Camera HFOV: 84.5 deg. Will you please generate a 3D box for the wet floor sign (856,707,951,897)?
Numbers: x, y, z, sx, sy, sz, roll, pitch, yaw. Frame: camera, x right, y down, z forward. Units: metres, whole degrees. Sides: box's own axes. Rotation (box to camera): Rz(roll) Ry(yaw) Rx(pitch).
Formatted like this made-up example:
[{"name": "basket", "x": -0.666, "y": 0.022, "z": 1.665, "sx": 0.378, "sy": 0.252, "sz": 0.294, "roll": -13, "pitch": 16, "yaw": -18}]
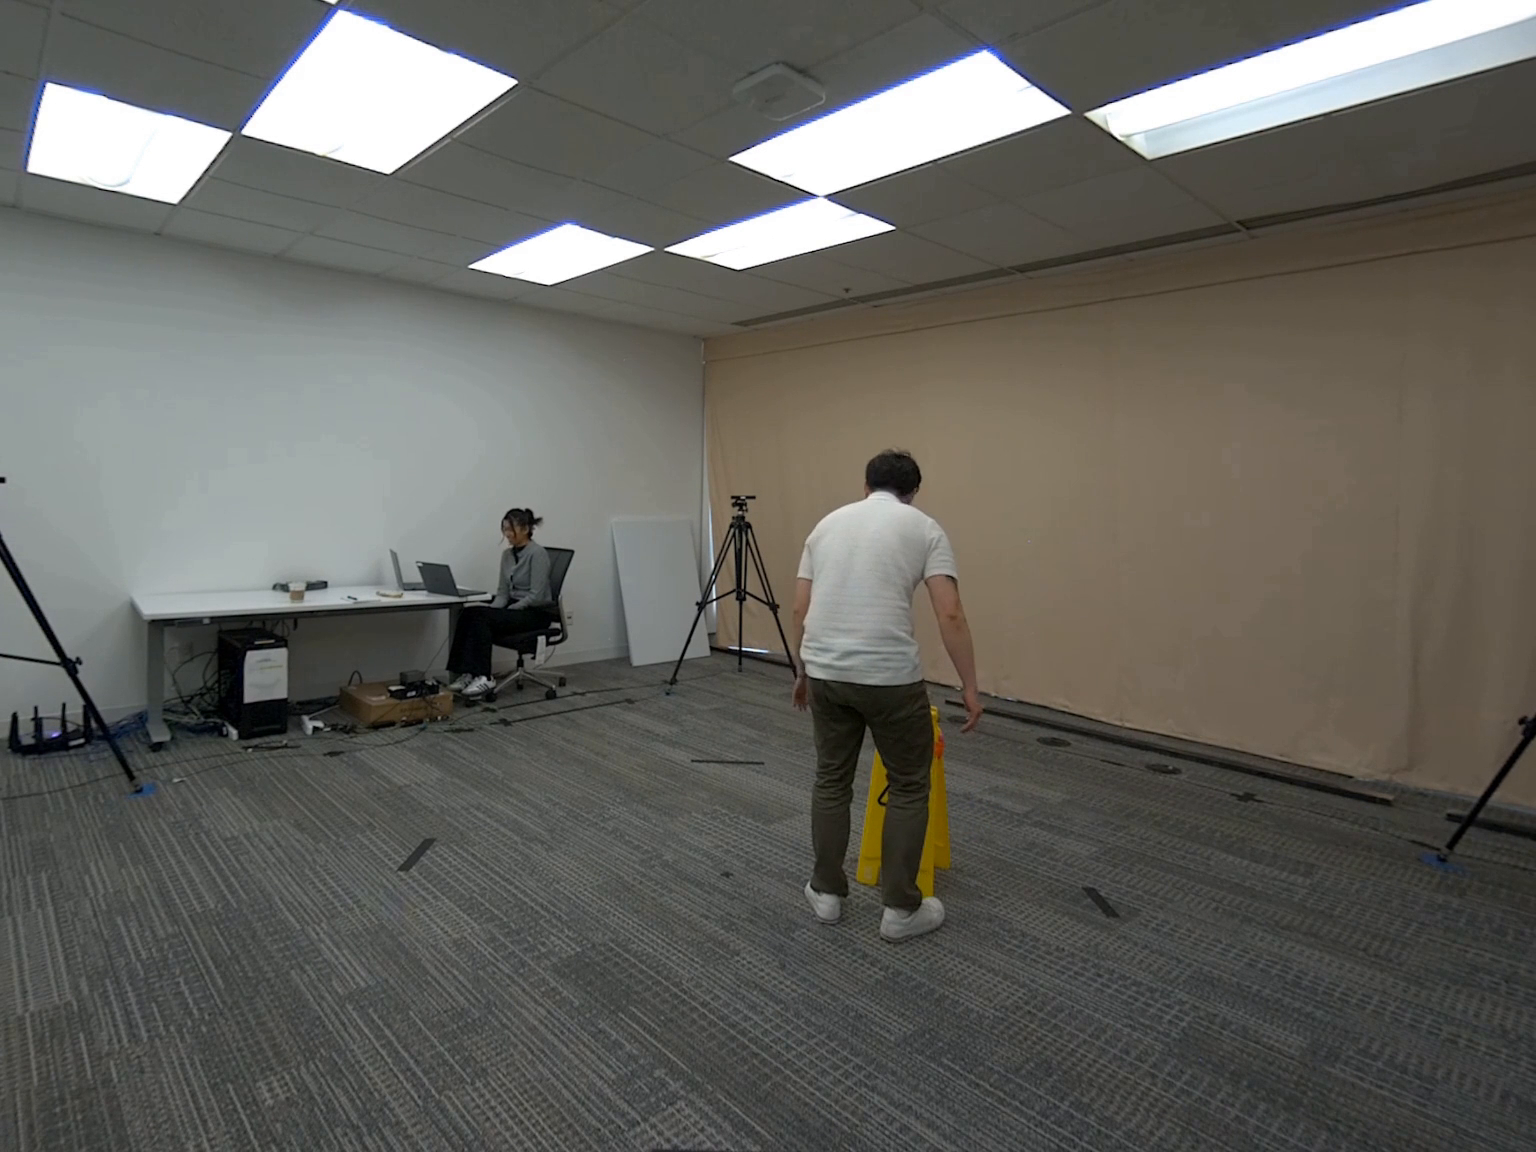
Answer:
[{"name": "wet floor sign", "x": 0.516, "y": 0.795, "z": 3.127, "sx": 0.288, "sy": 0.644, "sz": 0.285, "roll": 4, "pitch": 4, "yaw": 25}]
